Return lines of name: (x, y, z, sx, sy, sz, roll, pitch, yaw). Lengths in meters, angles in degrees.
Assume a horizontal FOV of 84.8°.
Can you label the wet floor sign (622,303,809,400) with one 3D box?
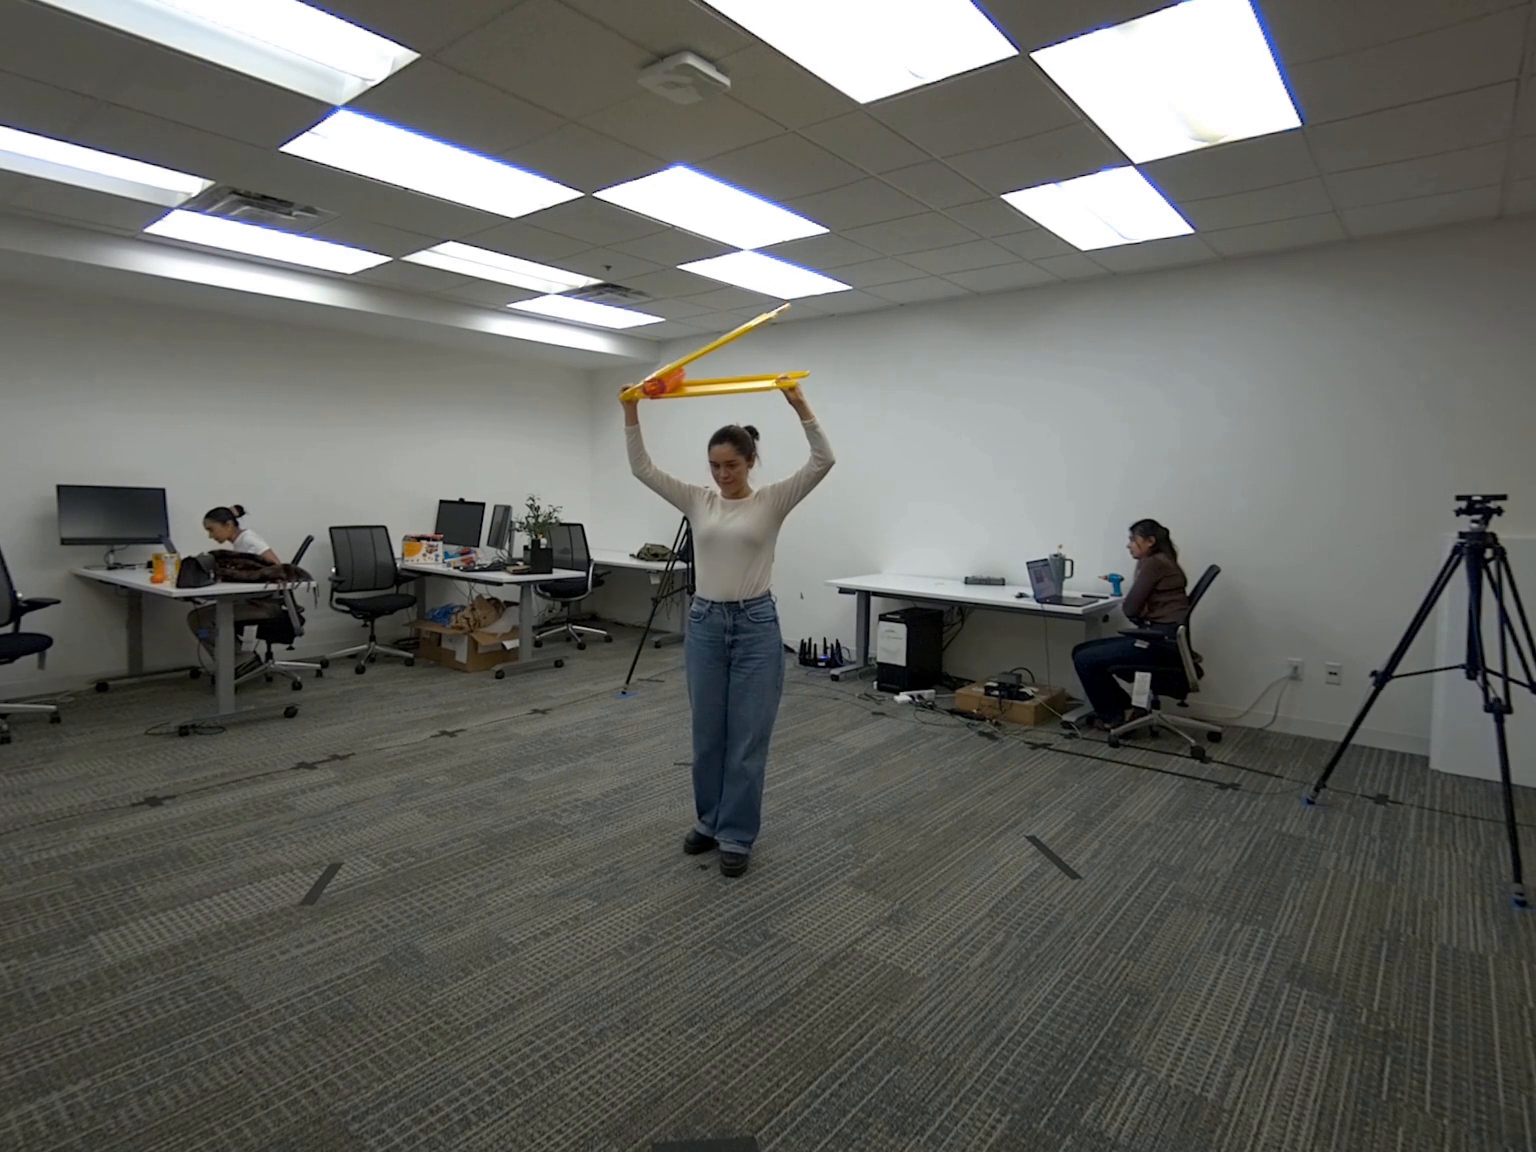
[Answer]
wet floor sign: (-0.228, -0.746, 3.055, 0.657, 0.284, 0.284, -10, 20, 19)
